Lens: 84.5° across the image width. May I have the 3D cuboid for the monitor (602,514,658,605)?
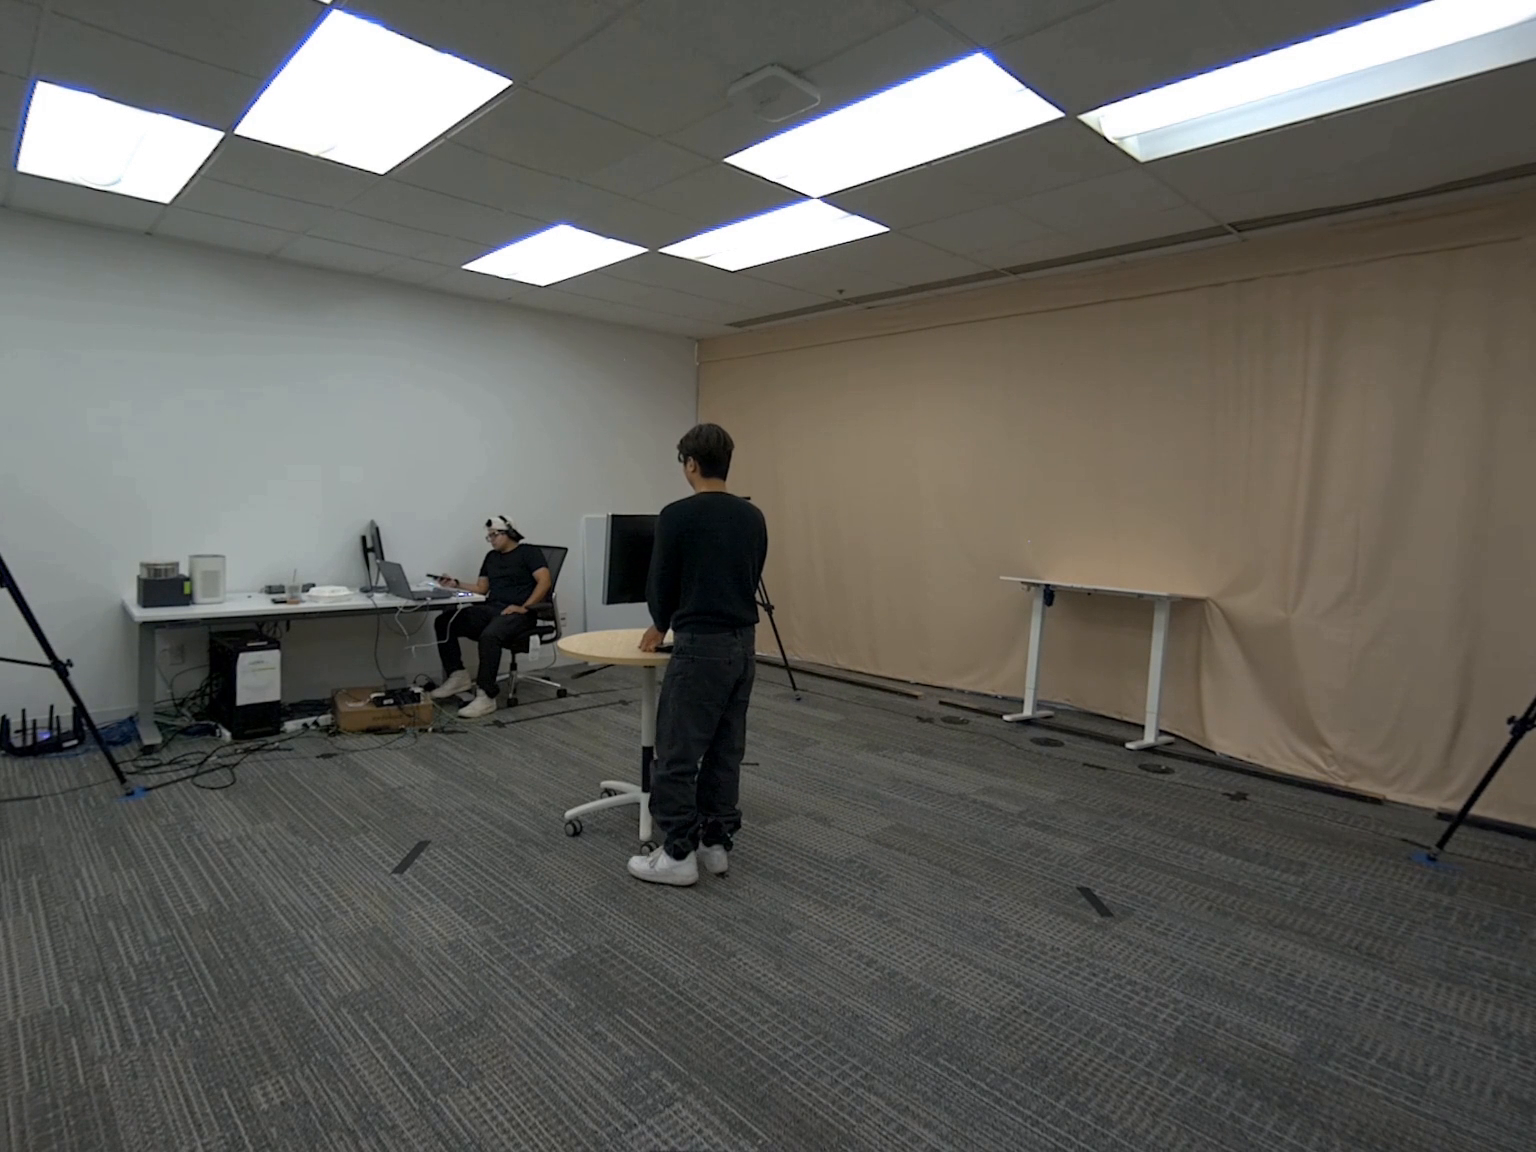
[{"bbox_3d":[-0.394,0.017,3.419,0.191,0.523,0.527,-5,-1,44],"label":"monitor"}]
